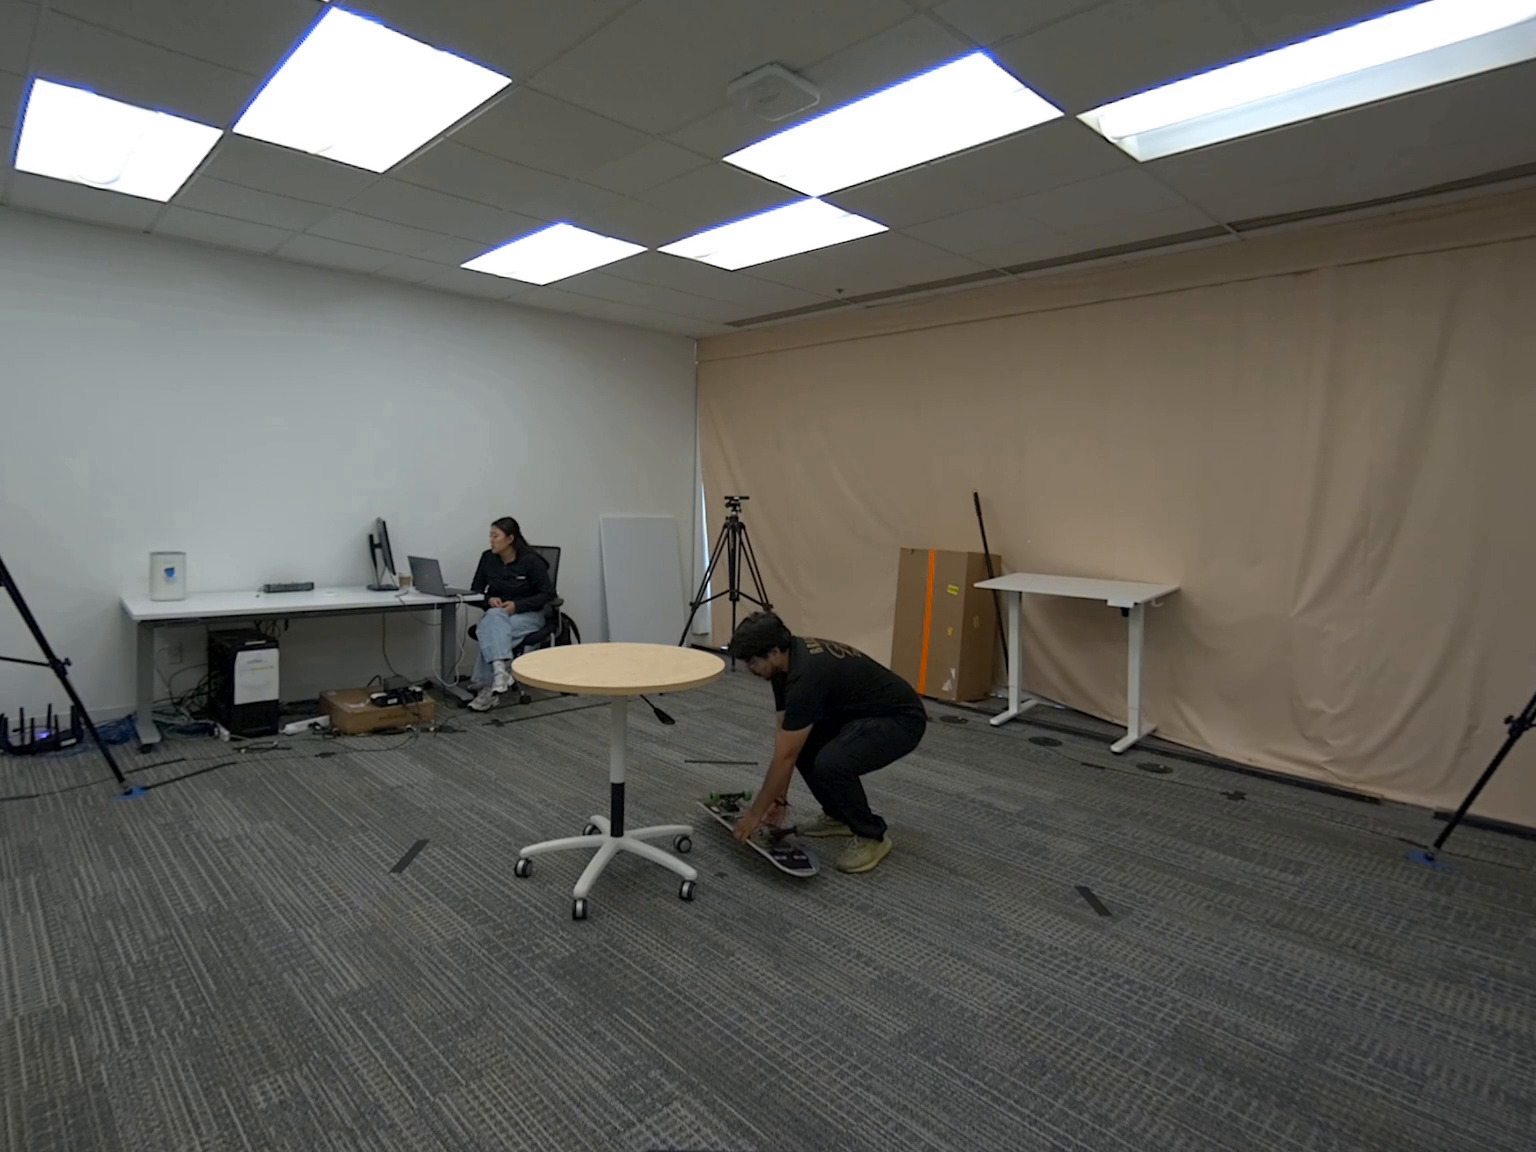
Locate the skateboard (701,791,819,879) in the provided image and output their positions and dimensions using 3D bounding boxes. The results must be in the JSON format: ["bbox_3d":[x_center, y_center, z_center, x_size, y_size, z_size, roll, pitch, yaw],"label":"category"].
[{"bbox_3d":[-0.057,0.965,3.327,0.189,0.110,0.804,5,4,-31],"label":"skateboard"}]
